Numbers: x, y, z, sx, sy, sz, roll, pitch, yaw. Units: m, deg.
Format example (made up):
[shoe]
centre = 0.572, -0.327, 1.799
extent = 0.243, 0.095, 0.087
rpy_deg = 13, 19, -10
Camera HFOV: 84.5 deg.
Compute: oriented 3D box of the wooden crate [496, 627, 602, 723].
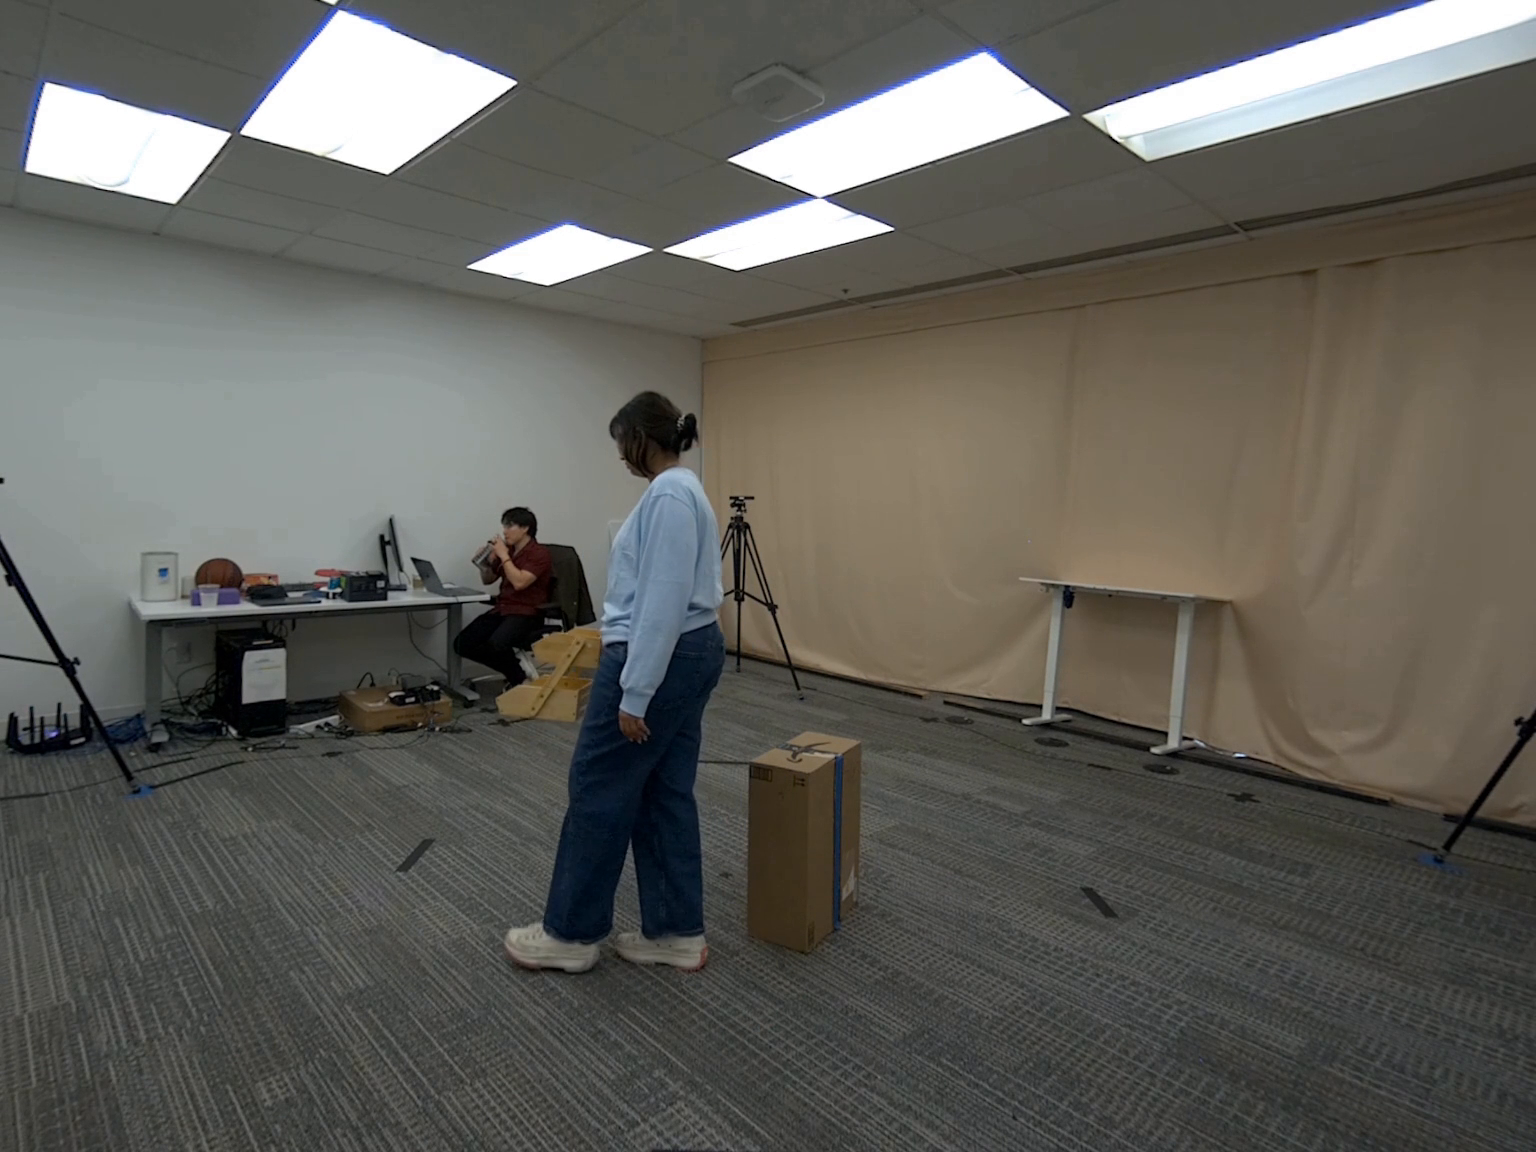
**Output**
[wooden crate]
centre = -0.677, 0.301, 2.693
extent = 0.303, 0.273, 0.323
rpy_deg = 6, 0, 2
